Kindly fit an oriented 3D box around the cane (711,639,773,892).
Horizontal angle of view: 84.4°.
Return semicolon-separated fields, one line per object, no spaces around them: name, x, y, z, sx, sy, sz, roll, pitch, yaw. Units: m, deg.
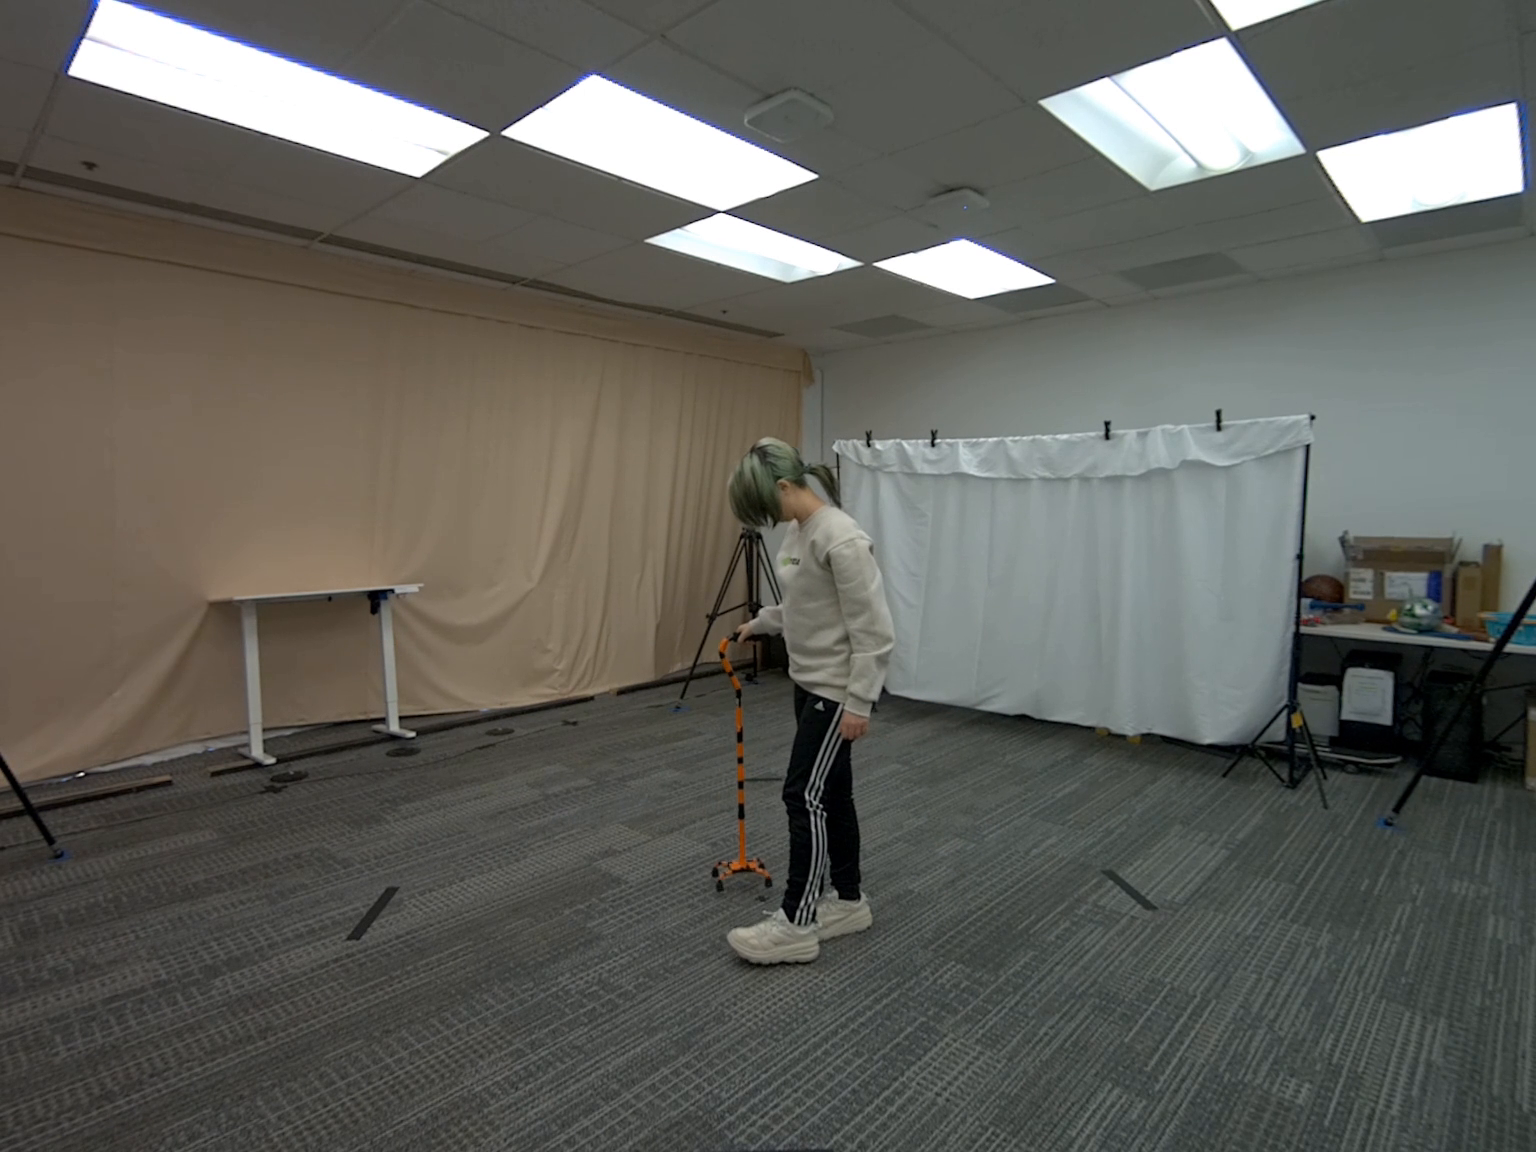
cane;-0.104;0.665;3.051;0.204;0.907;0.153;-1;2;-11
